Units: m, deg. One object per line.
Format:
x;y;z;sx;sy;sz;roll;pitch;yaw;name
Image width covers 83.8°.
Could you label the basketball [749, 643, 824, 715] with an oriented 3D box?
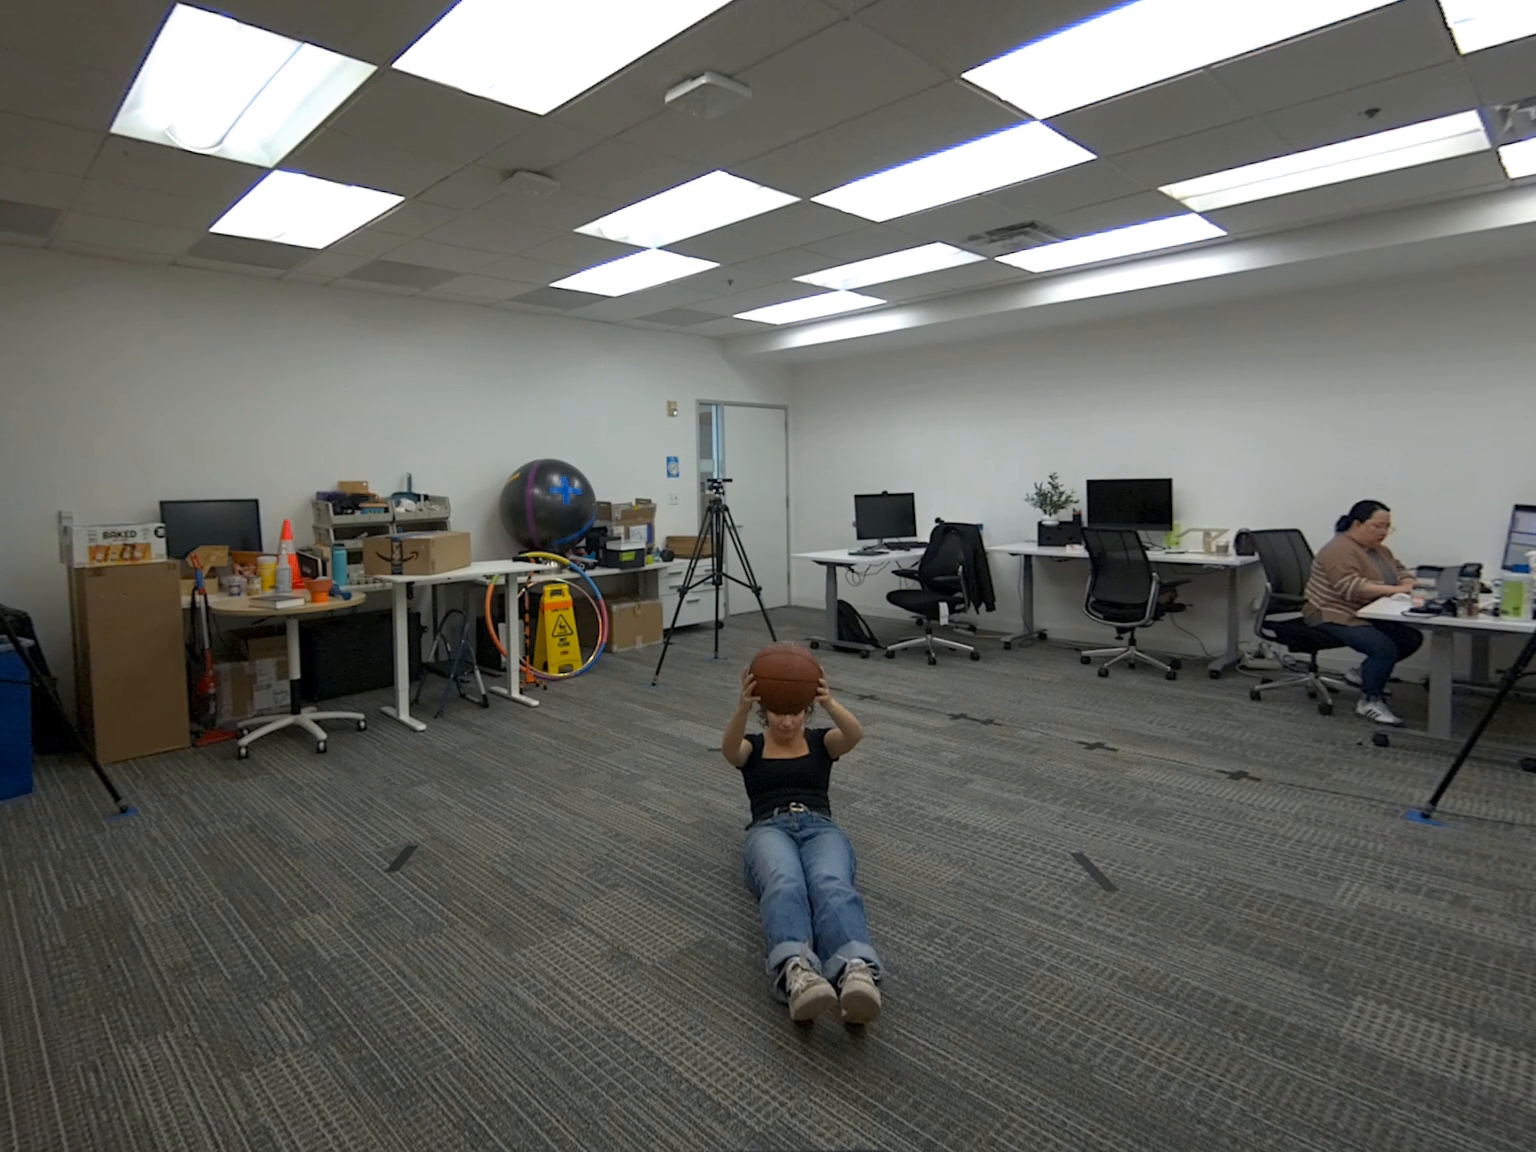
0.055;0.333;2.803;0.236;0.235;0.237;-1;5;-2;basketball
